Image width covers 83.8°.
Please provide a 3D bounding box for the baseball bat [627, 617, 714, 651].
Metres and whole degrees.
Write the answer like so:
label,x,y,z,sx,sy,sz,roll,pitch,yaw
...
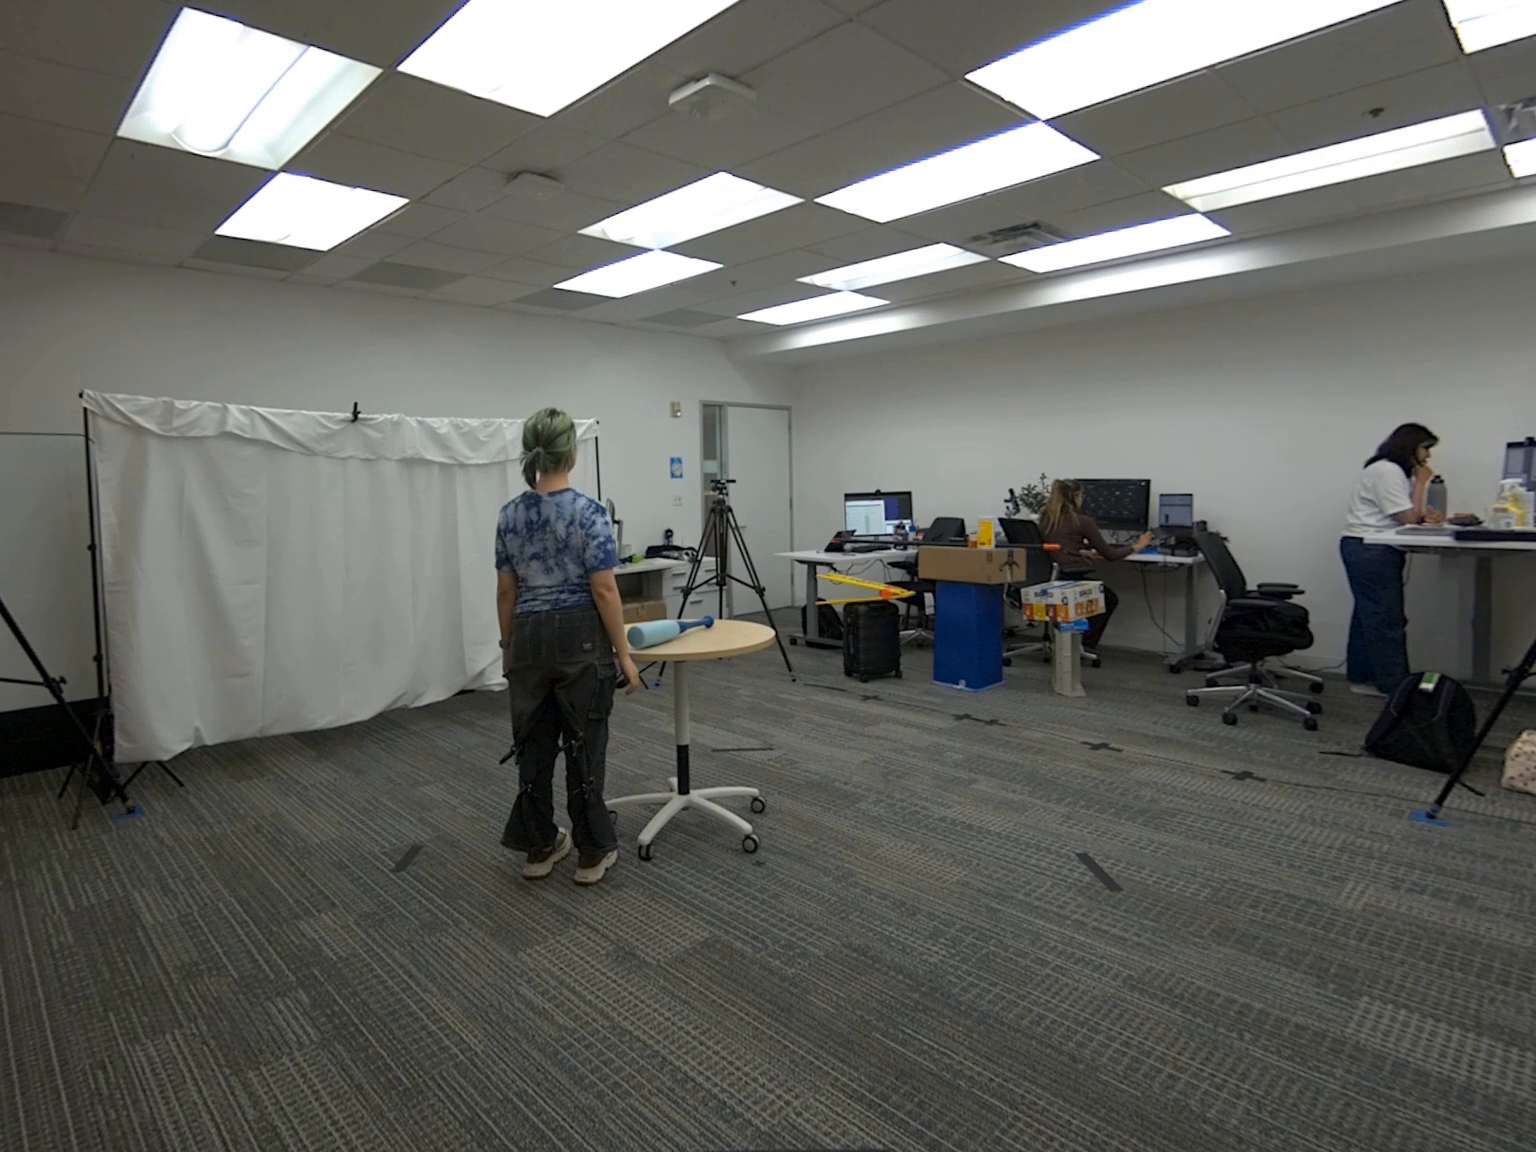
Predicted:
label,x,y,z,sx,sy,sz,roll,pitch,yaw
baseball bat,-0.363,0.208,3.333,0.091,0.089,0.531,1,4,25
